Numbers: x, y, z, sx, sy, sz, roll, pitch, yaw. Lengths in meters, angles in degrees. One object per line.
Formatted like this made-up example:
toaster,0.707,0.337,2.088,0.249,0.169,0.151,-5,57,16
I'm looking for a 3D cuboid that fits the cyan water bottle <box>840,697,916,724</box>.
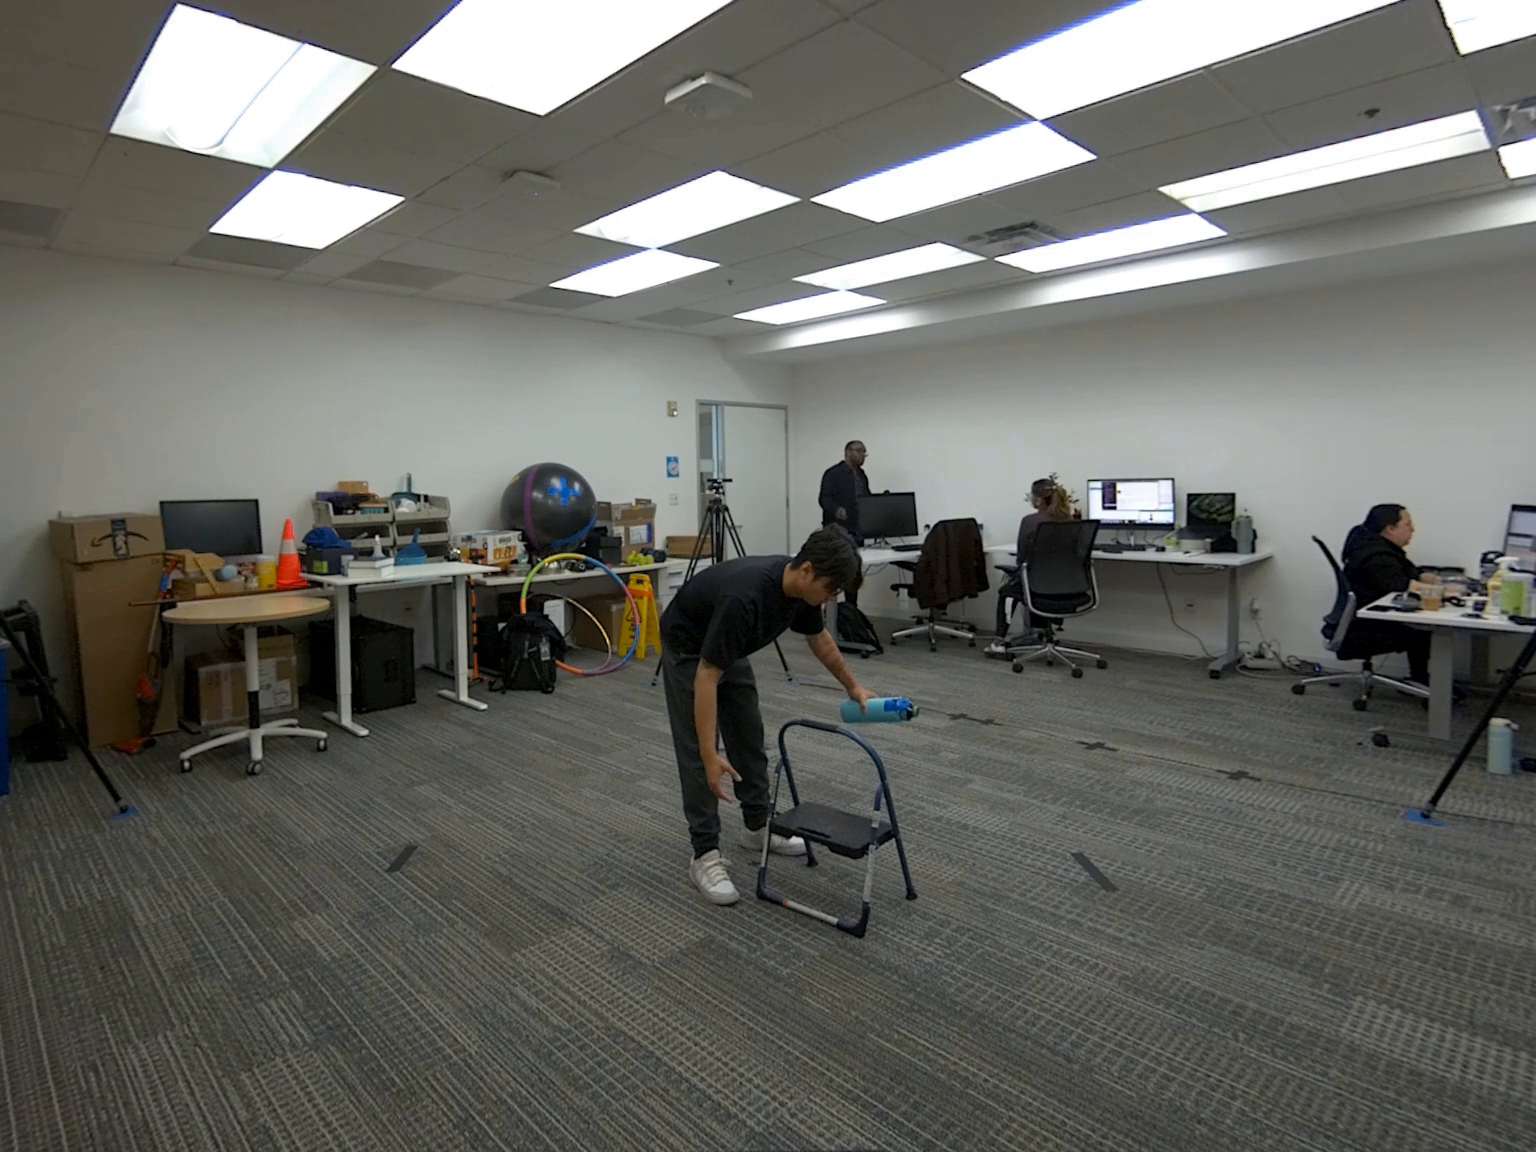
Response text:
cyan water bottle,0.406,0.500,3.149,0.289,0.092,0.090,-8,1,29
